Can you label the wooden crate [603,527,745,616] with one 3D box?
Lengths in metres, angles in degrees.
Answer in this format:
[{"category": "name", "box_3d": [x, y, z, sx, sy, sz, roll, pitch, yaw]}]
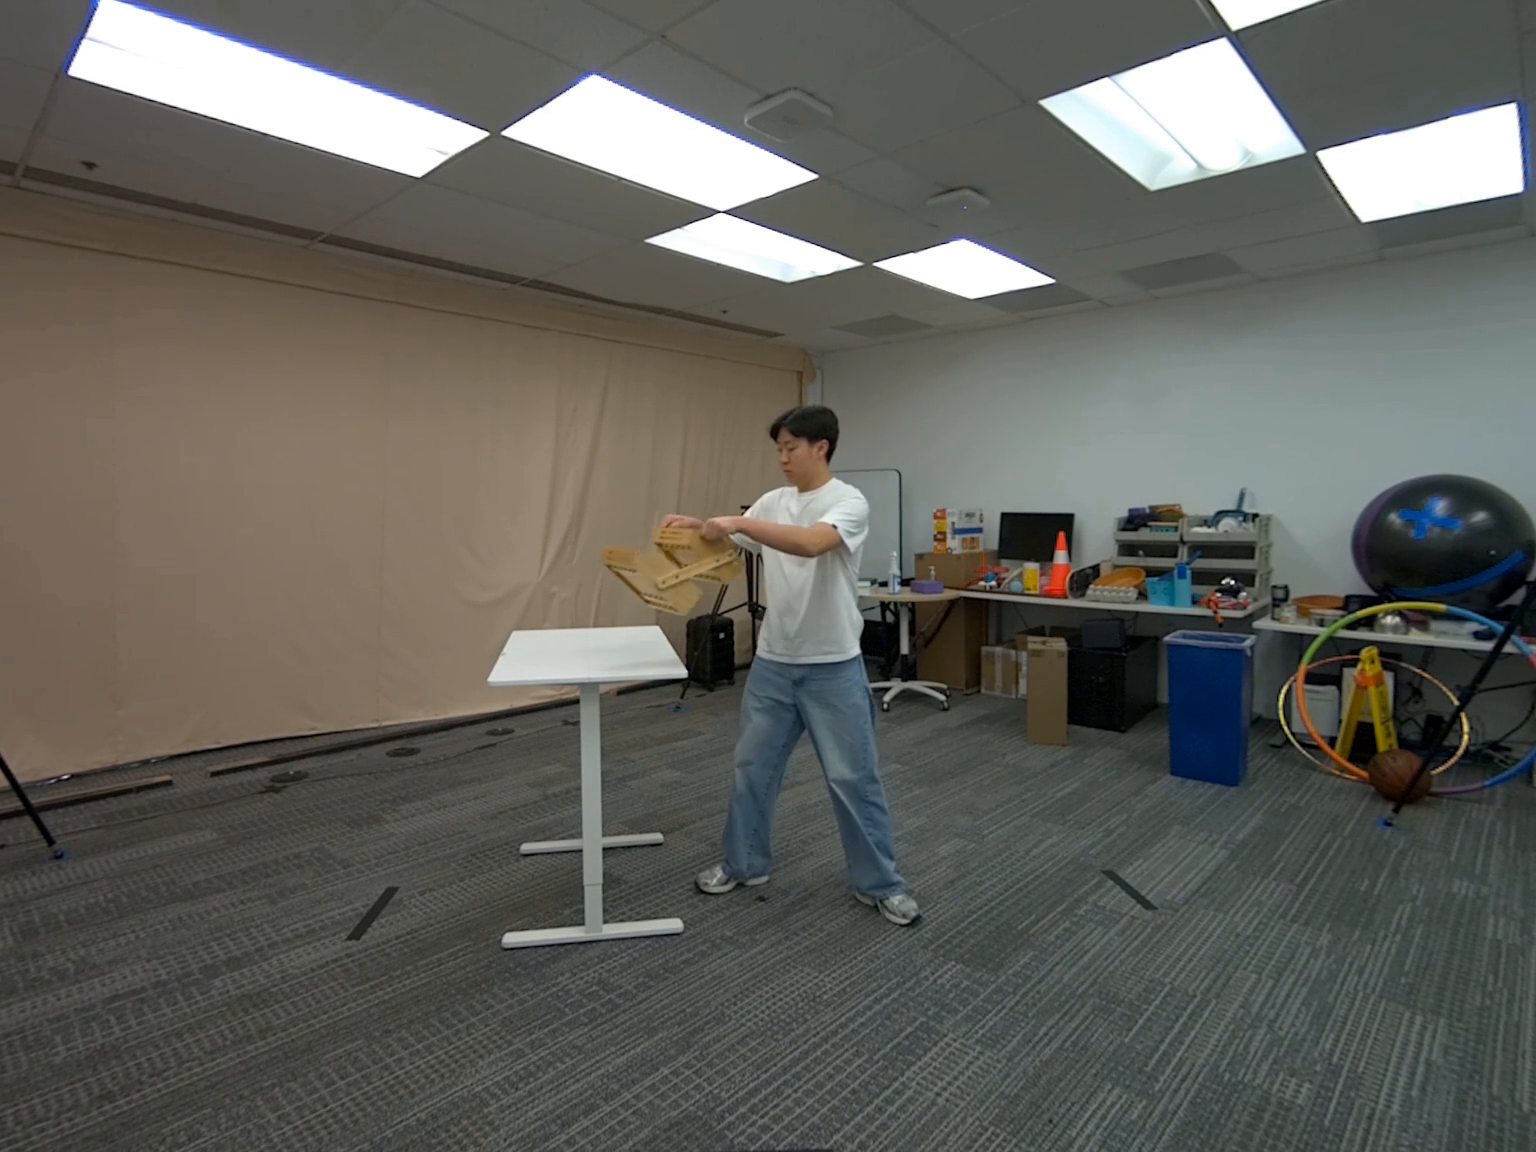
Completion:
[{"category": "wooden crate", "box_3d": [-0.290, -0.037, 2.693, 0.294, 0.272, 0.334, 46, -17, -24]}]
